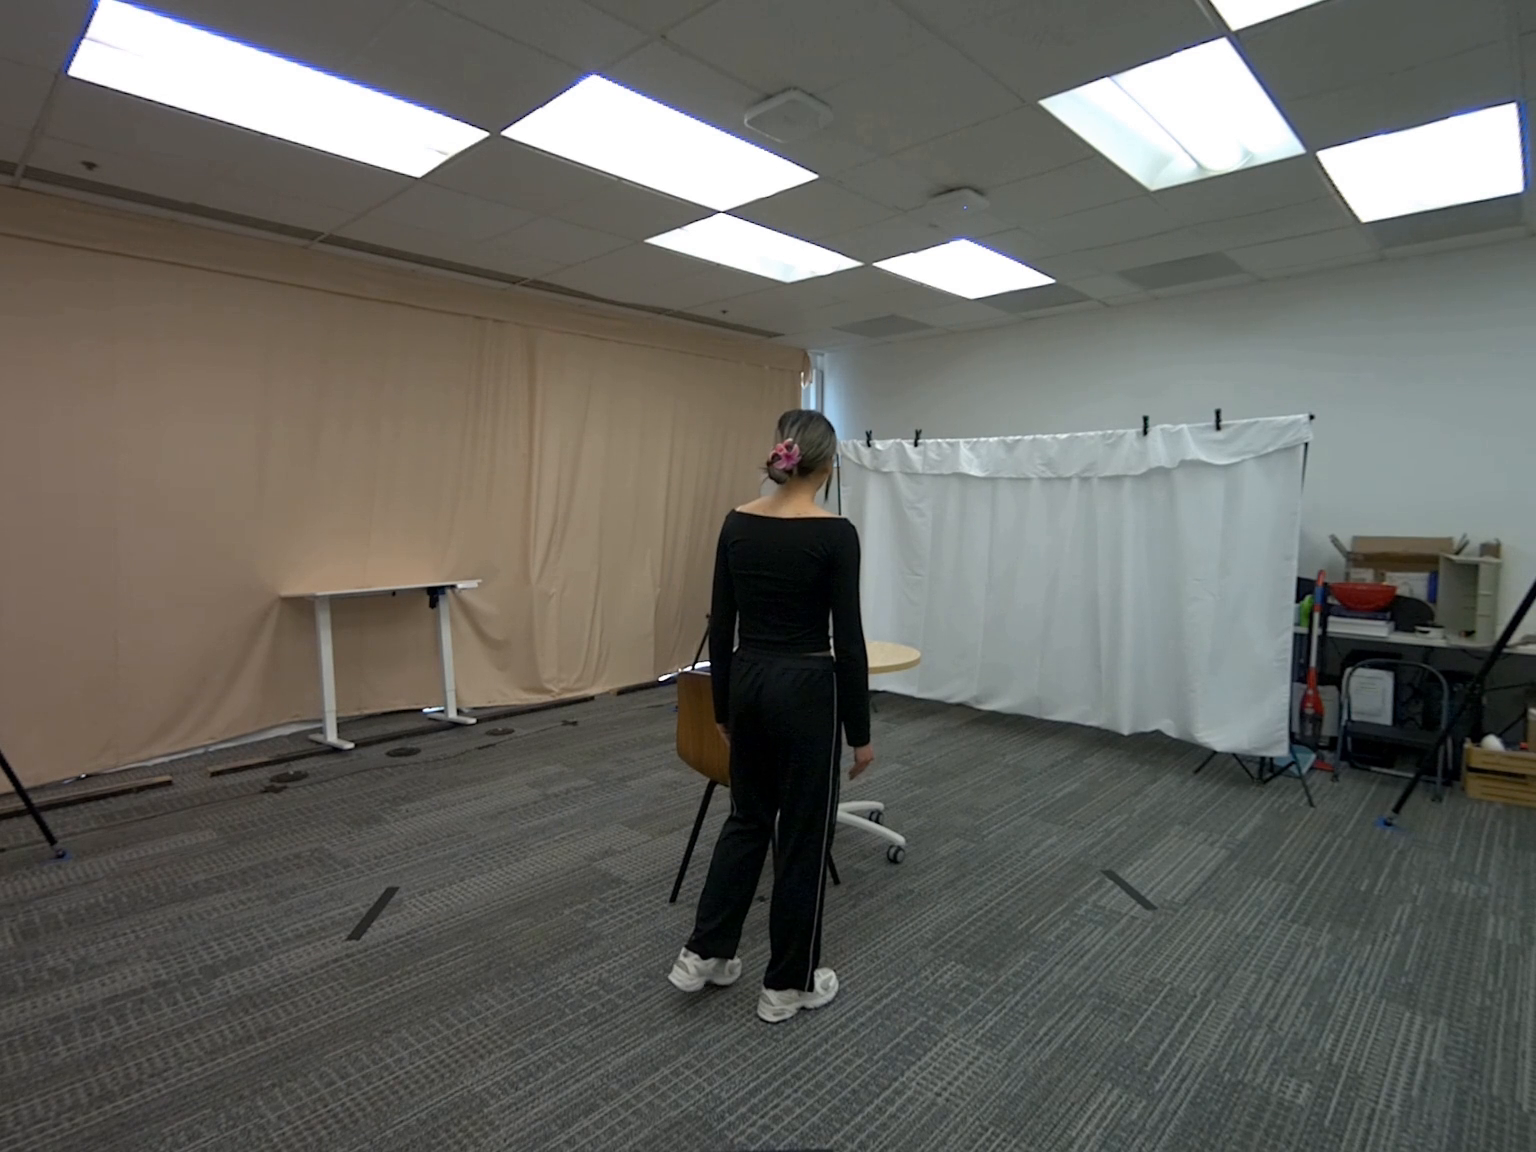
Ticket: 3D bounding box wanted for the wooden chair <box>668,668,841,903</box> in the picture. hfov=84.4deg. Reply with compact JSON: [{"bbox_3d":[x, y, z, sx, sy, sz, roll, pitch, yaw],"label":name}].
[{"bbox_3d":[-0.041,0.713,3.002,0.492,0.873,0.510,1,8,32],"label":"wooden chair"}]
